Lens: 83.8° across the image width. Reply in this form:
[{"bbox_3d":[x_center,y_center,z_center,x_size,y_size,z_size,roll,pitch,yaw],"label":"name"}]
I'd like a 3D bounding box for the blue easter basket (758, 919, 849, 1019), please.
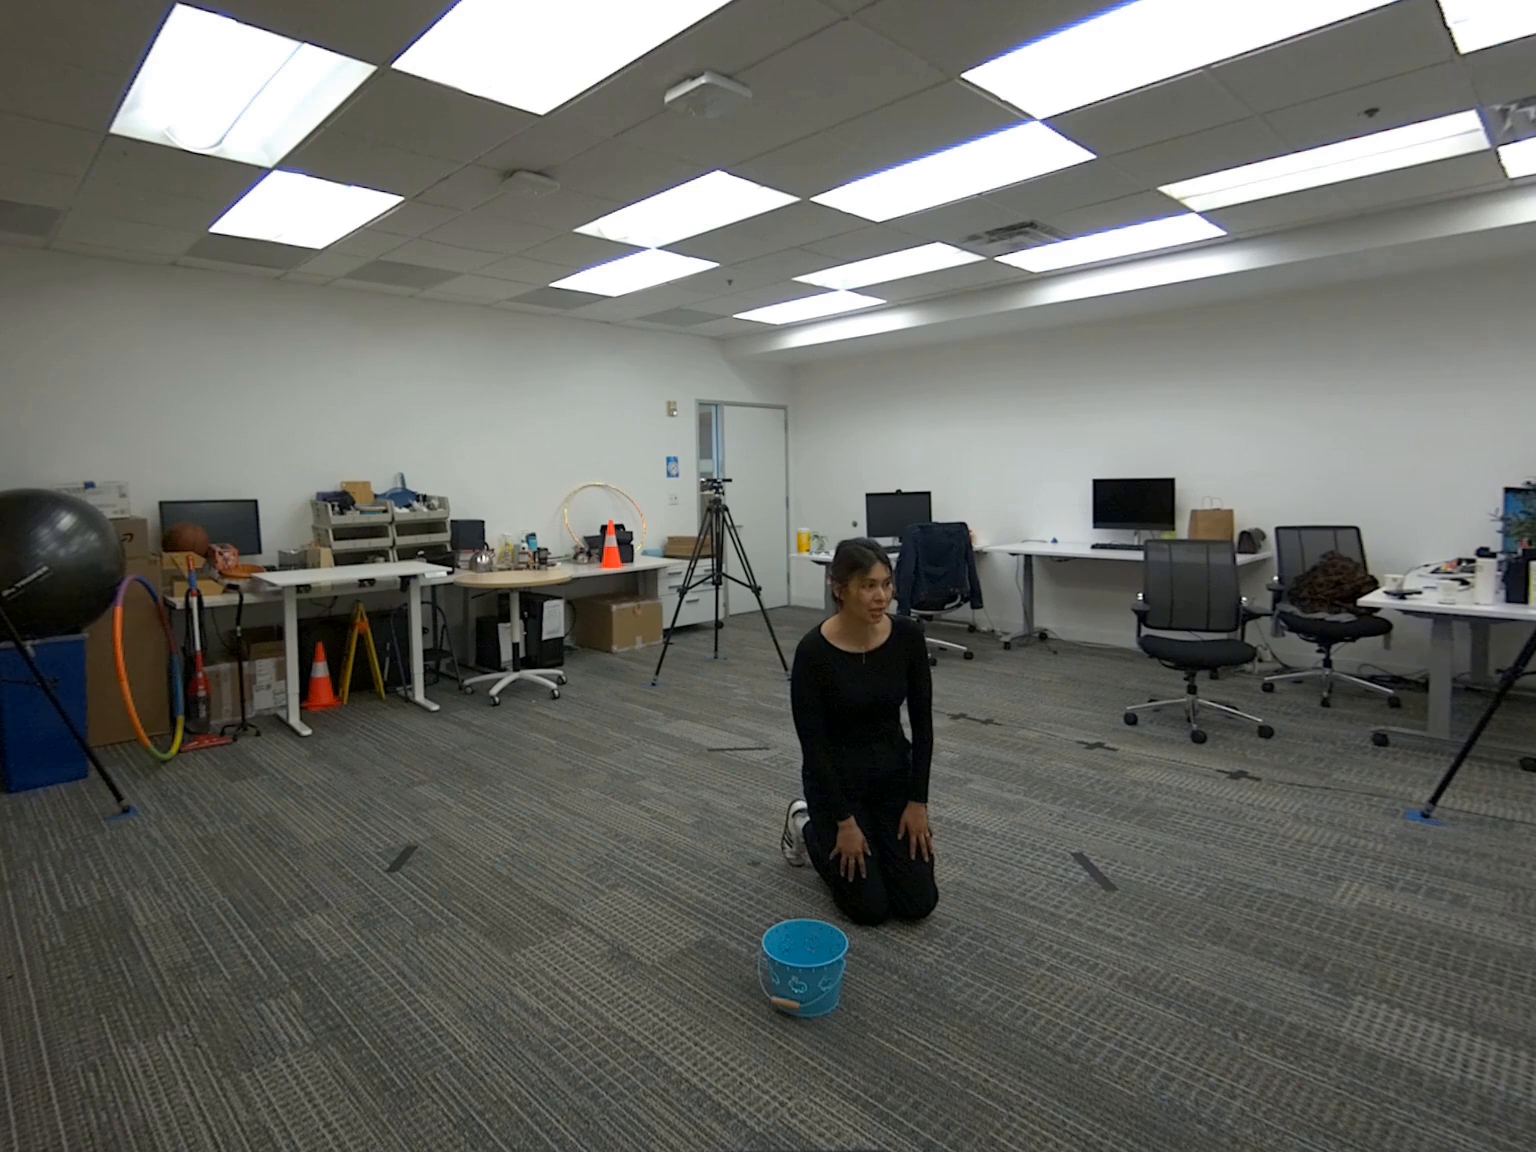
[{"bbox_3d":[0.102,1.060,2.303,0.243,0.155,0.245,-2,5,-2],"label":"blue easter basket"}]
